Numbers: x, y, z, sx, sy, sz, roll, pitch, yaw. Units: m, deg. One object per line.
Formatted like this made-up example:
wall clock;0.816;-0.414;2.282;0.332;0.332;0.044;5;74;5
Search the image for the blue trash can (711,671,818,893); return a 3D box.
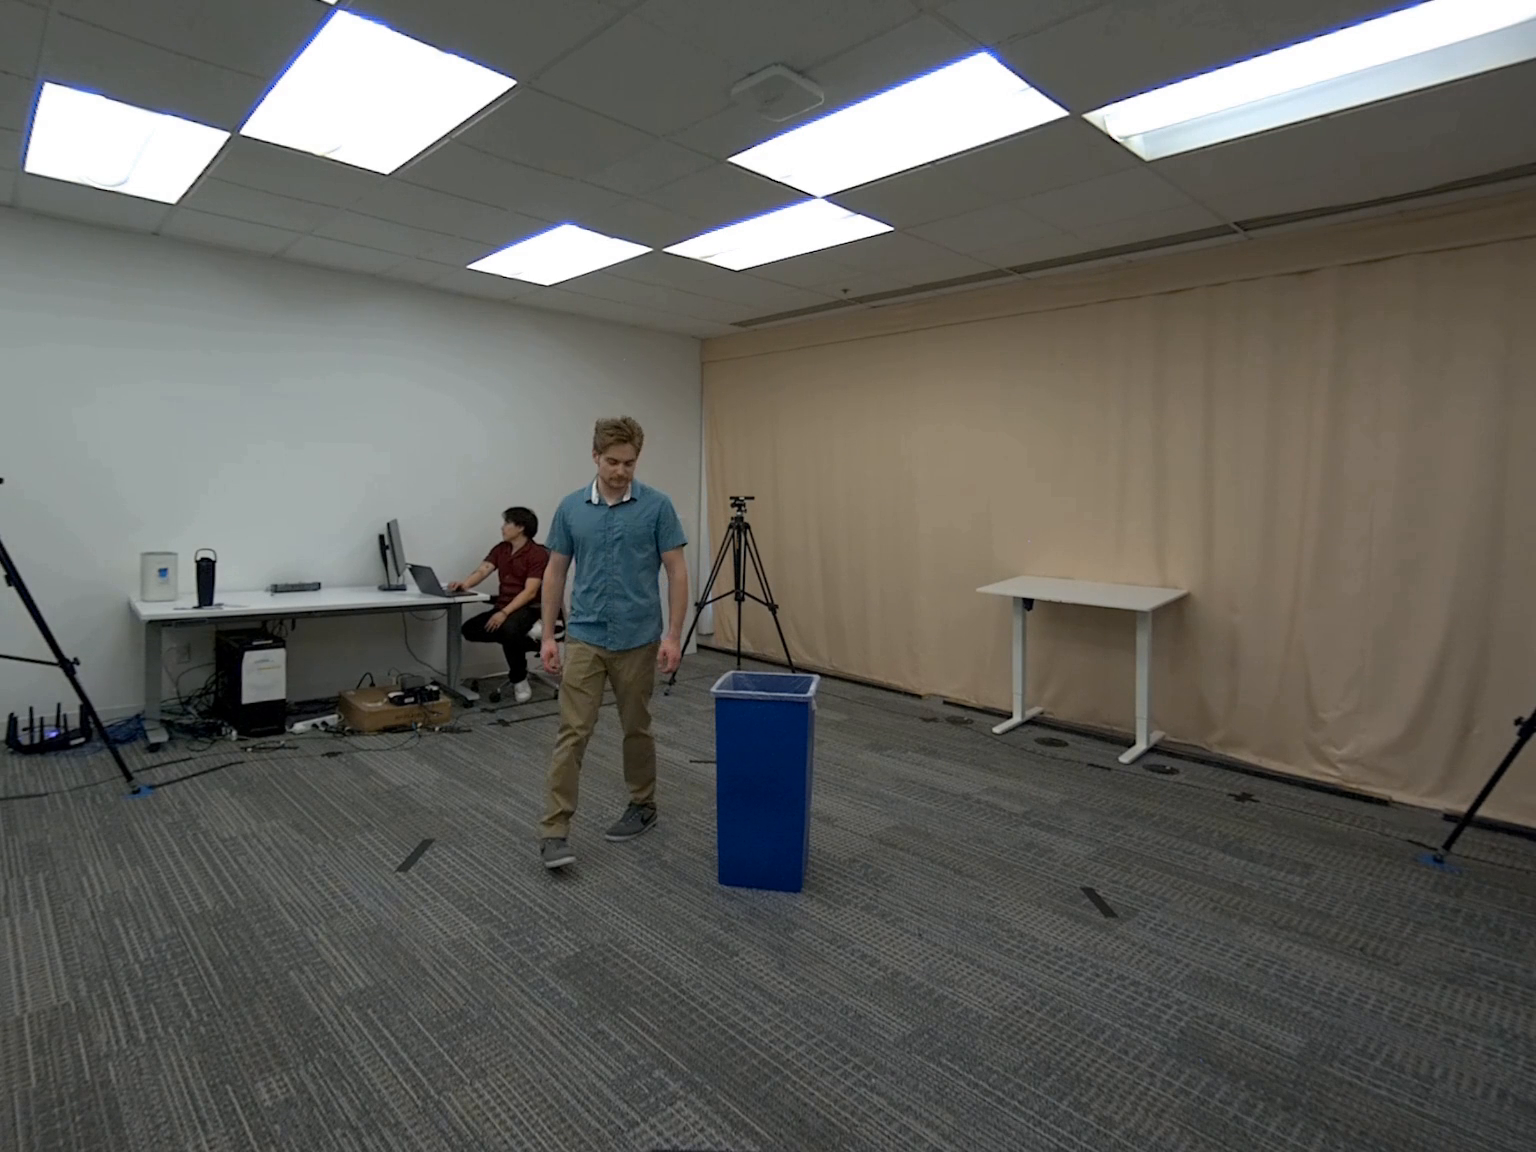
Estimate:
blue trash can;-0.023;0.748;3.123;0.377;0.712;0.376;2;3;9
